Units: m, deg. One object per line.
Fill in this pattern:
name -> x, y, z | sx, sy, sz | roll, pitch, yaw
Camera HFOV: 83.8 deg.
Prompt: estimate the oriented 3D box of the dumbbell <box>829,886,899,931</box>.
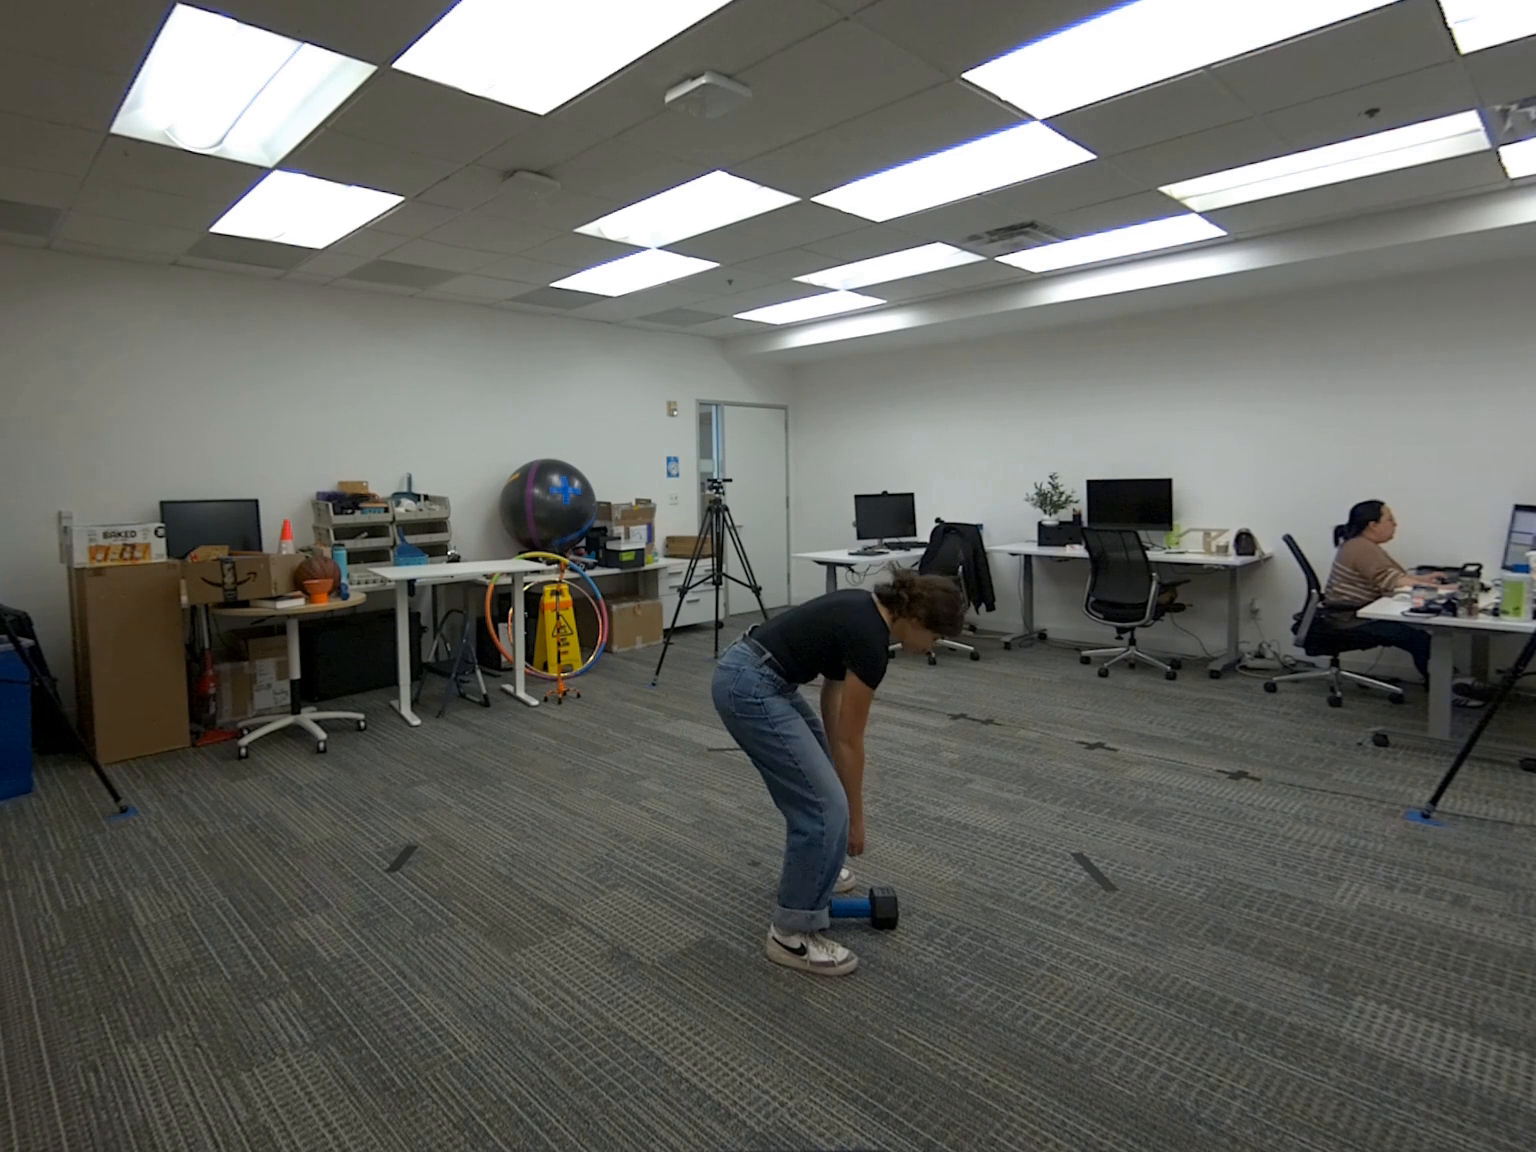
dumbbell -> 0.262, 1.037, 2.668 | 0.294, 0.125, 0.106 | -1, -26, 2
